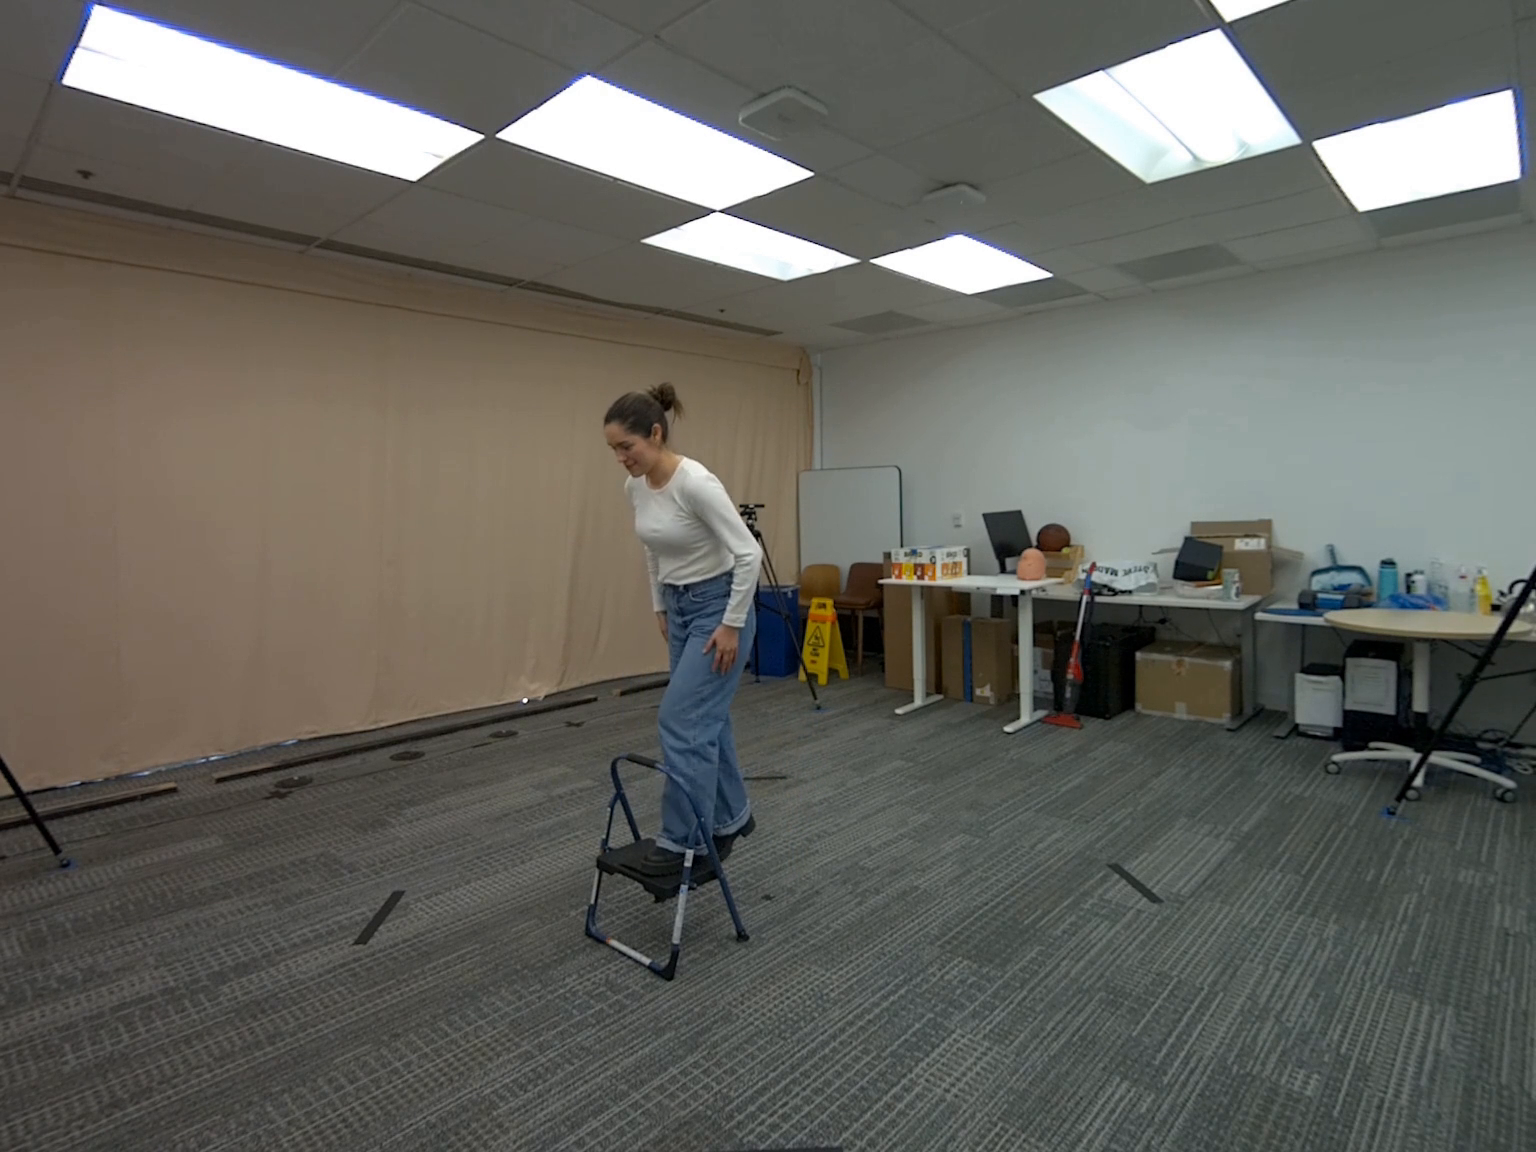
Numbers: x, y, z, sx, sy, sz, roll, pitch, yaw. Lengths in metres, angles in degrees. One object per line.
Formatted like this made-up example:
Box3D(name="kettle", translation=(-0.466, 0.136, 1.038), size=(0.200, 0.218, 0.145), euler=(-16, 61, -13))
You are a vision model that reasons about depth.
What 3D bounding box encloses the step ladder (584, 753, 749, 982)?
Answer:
Box3D(name="step ladder", translation=(-0.338, 0.867, 2.717), size=(0.445, 0.605, 0.338), euler=(1, 4, 42))
